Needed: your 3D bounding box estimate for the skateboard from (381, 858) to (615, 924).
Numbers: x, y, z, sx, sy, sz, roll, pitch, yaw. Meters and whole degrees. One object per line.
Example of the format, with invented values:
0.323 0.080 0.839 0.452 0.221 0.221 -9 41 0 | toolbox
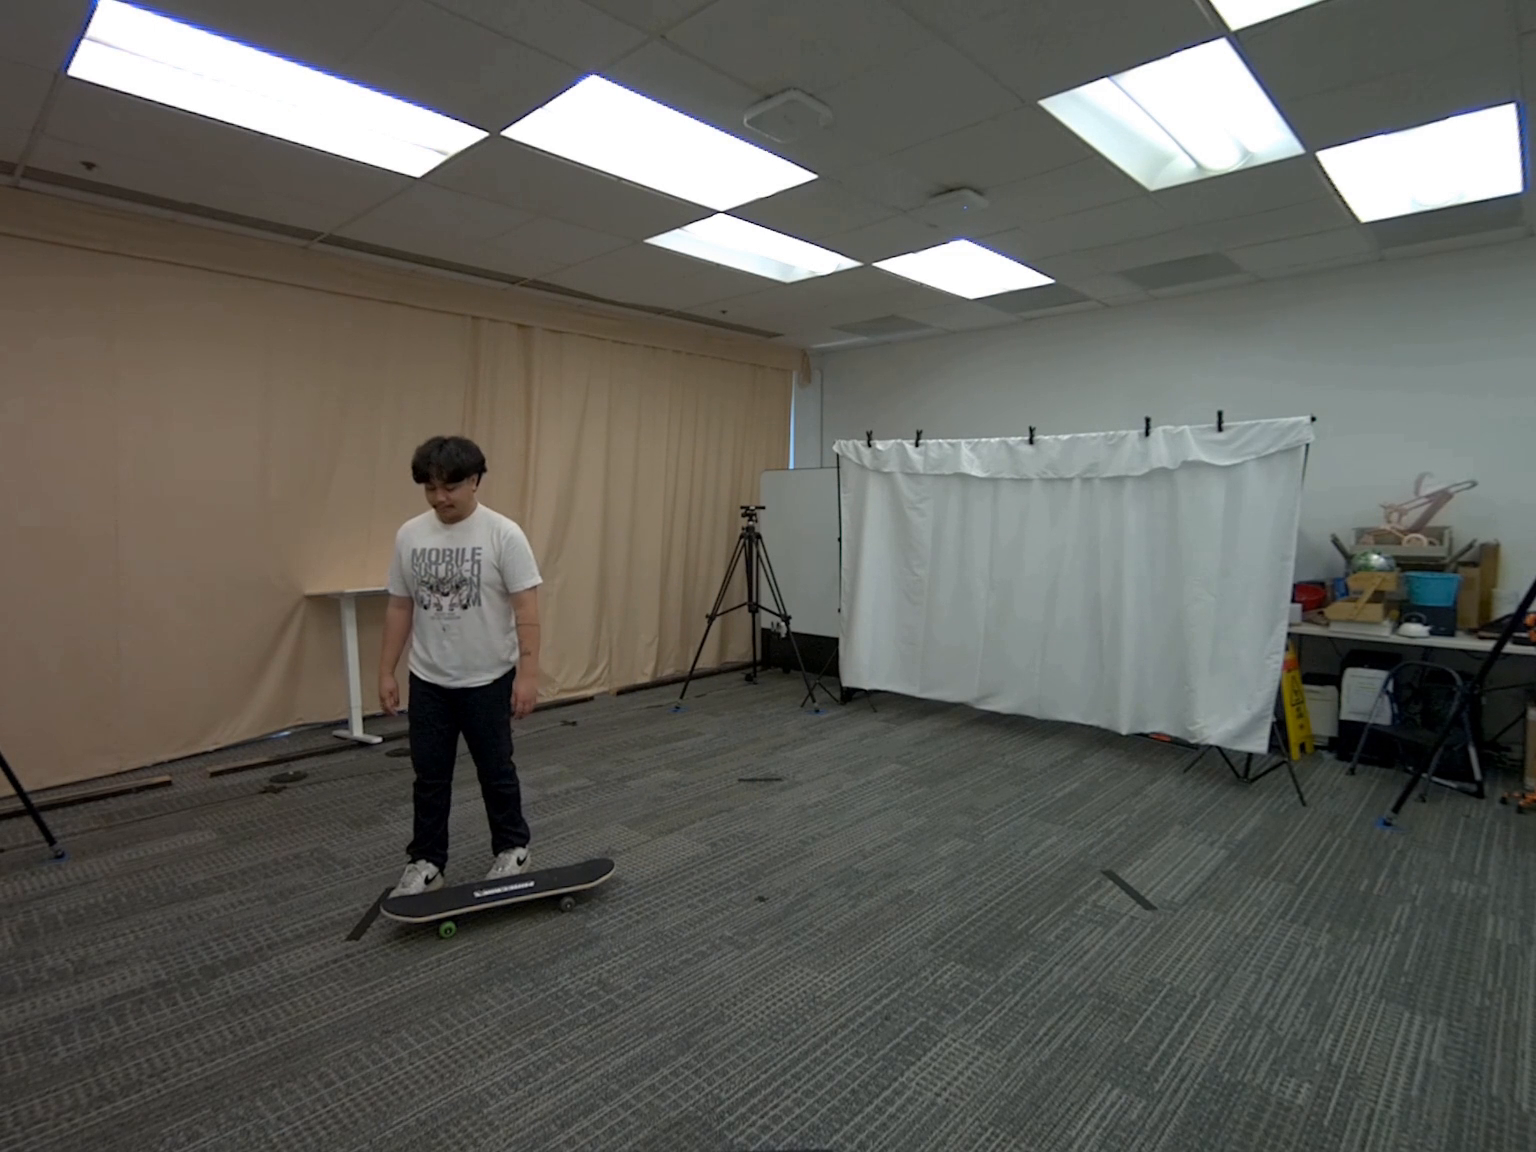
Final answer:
-0.899 1.105 2.882 0.767 0.110 0.198 -3 5 -25 | skateboard
